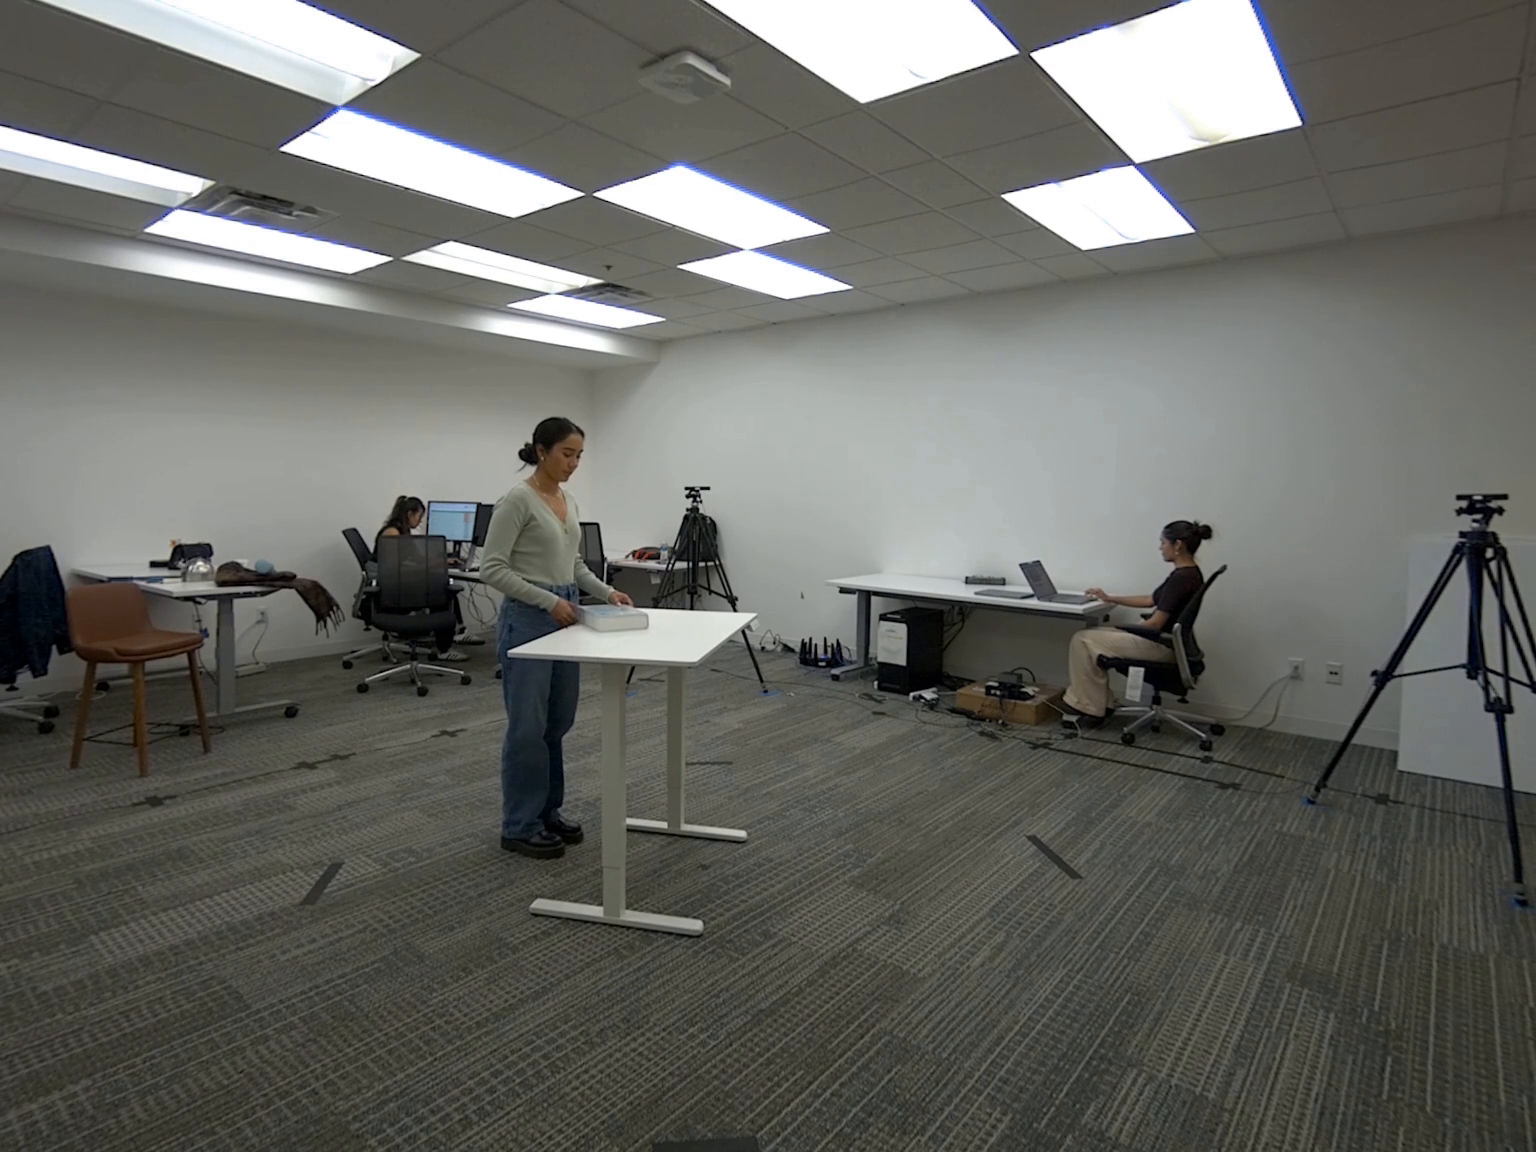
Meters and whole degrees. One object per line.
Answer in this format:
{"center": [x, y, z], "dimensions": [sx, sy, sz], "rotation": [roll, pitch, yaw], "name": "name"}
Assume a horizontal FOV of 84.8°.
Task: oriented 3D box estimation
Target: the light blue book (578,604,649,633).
{"center": [-0.584, 0.154, 3.109], "dimensions": [0.187, 0.059, 0.268], "rotation": [-3, 6, -26], "name": "light blue book"}
